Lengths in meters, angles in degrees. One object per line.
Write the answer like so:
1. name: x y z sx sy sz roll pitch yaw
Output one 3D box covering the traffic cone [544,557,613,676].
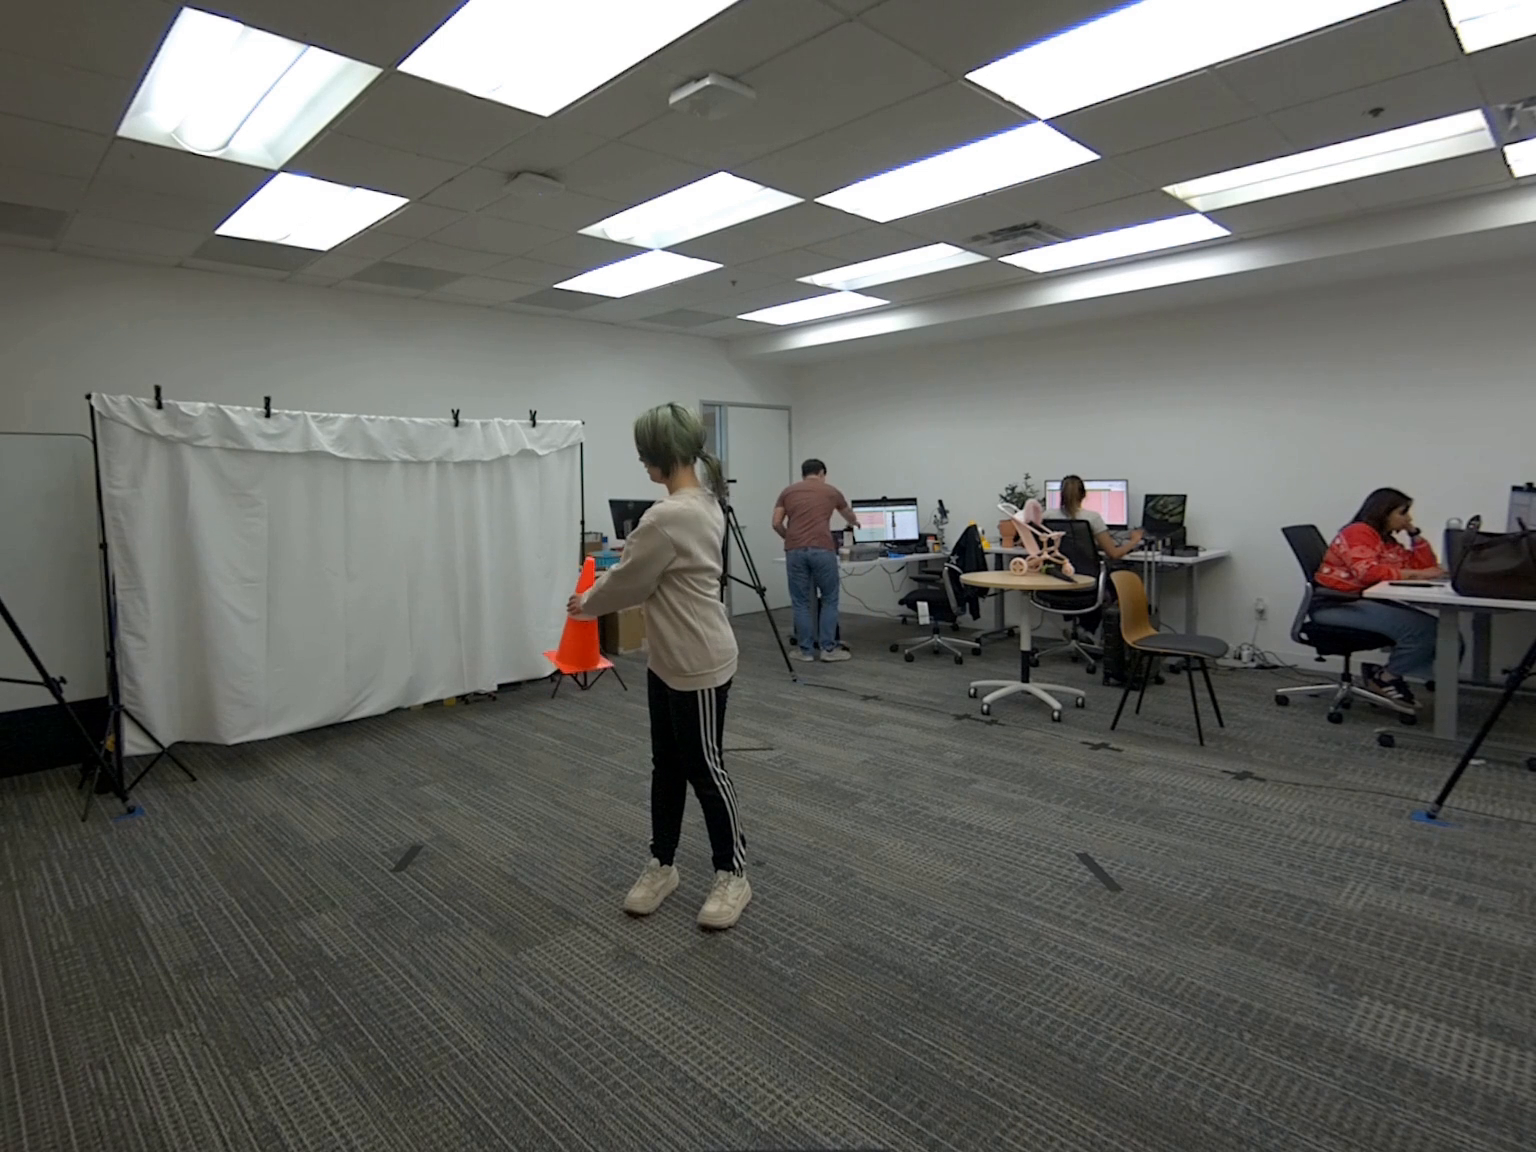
1. traffic cone: -0.643 0.123 3.035 0.200 0.380 0.210 1 16 -30
